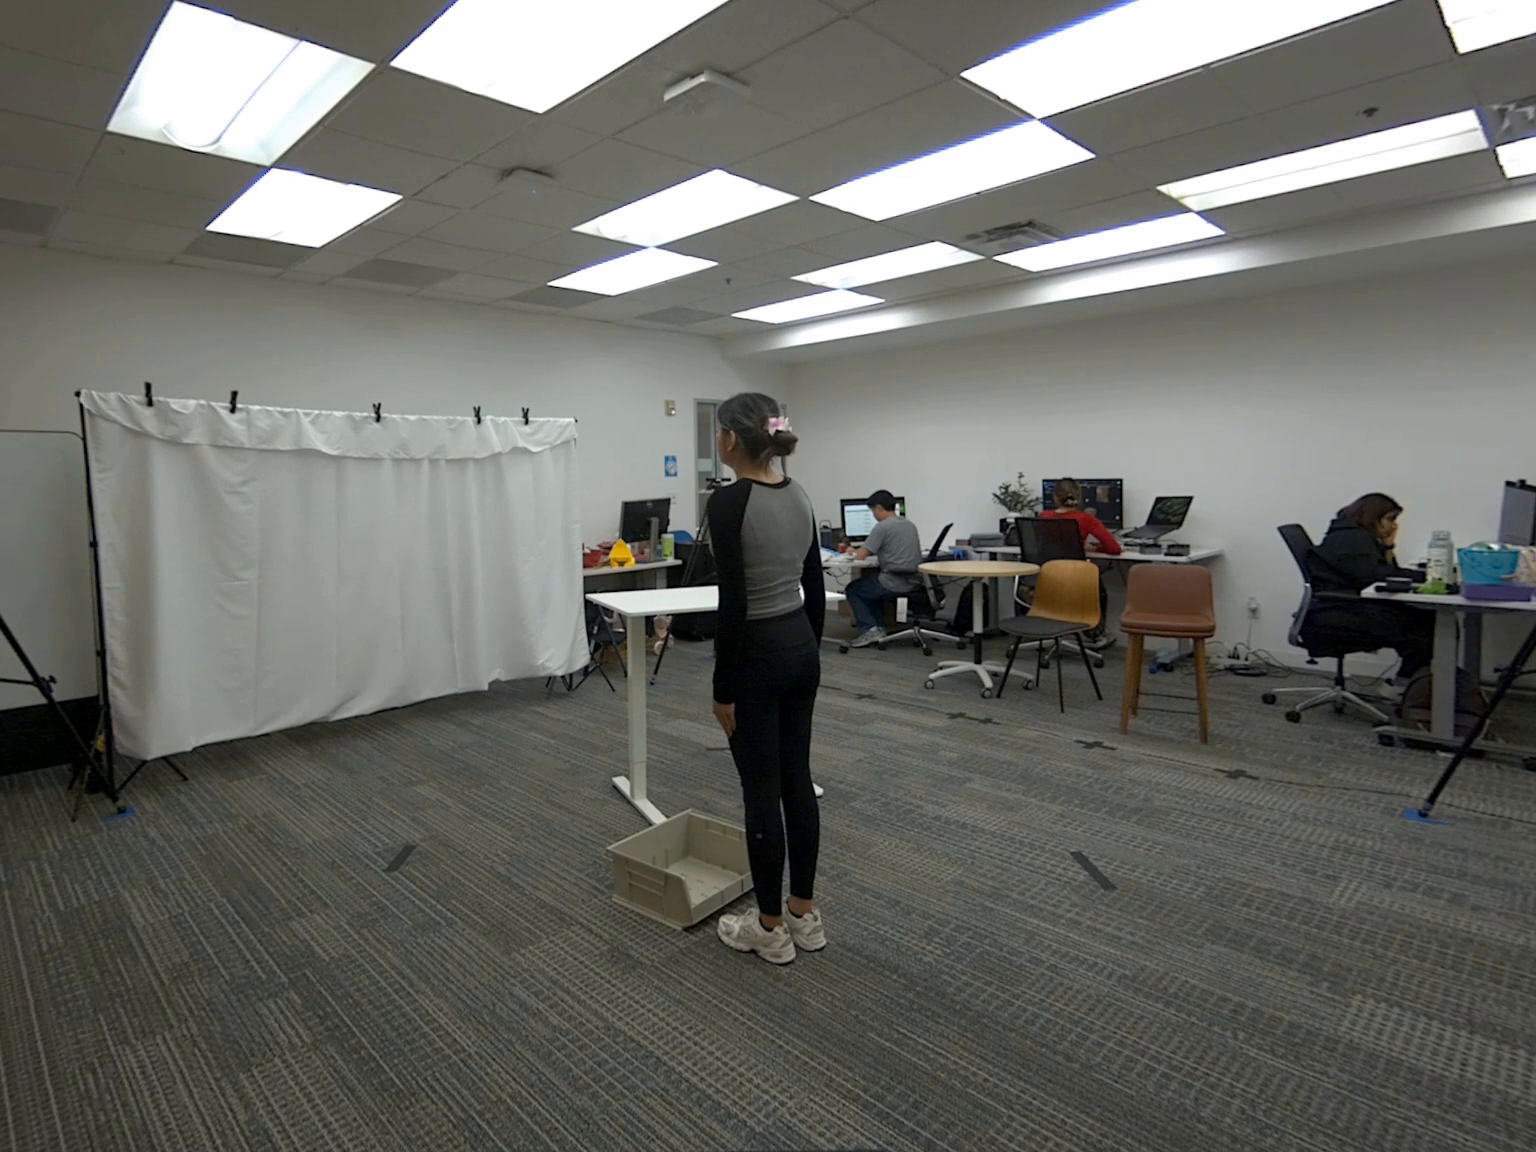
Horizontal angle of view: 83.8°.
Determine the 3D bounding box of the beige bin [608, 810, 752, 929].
[{"bbox_3d":[-0.260,0.983,2.884,0.388,0.188,0.412,3,8,38],"label":"beige bin"}]
